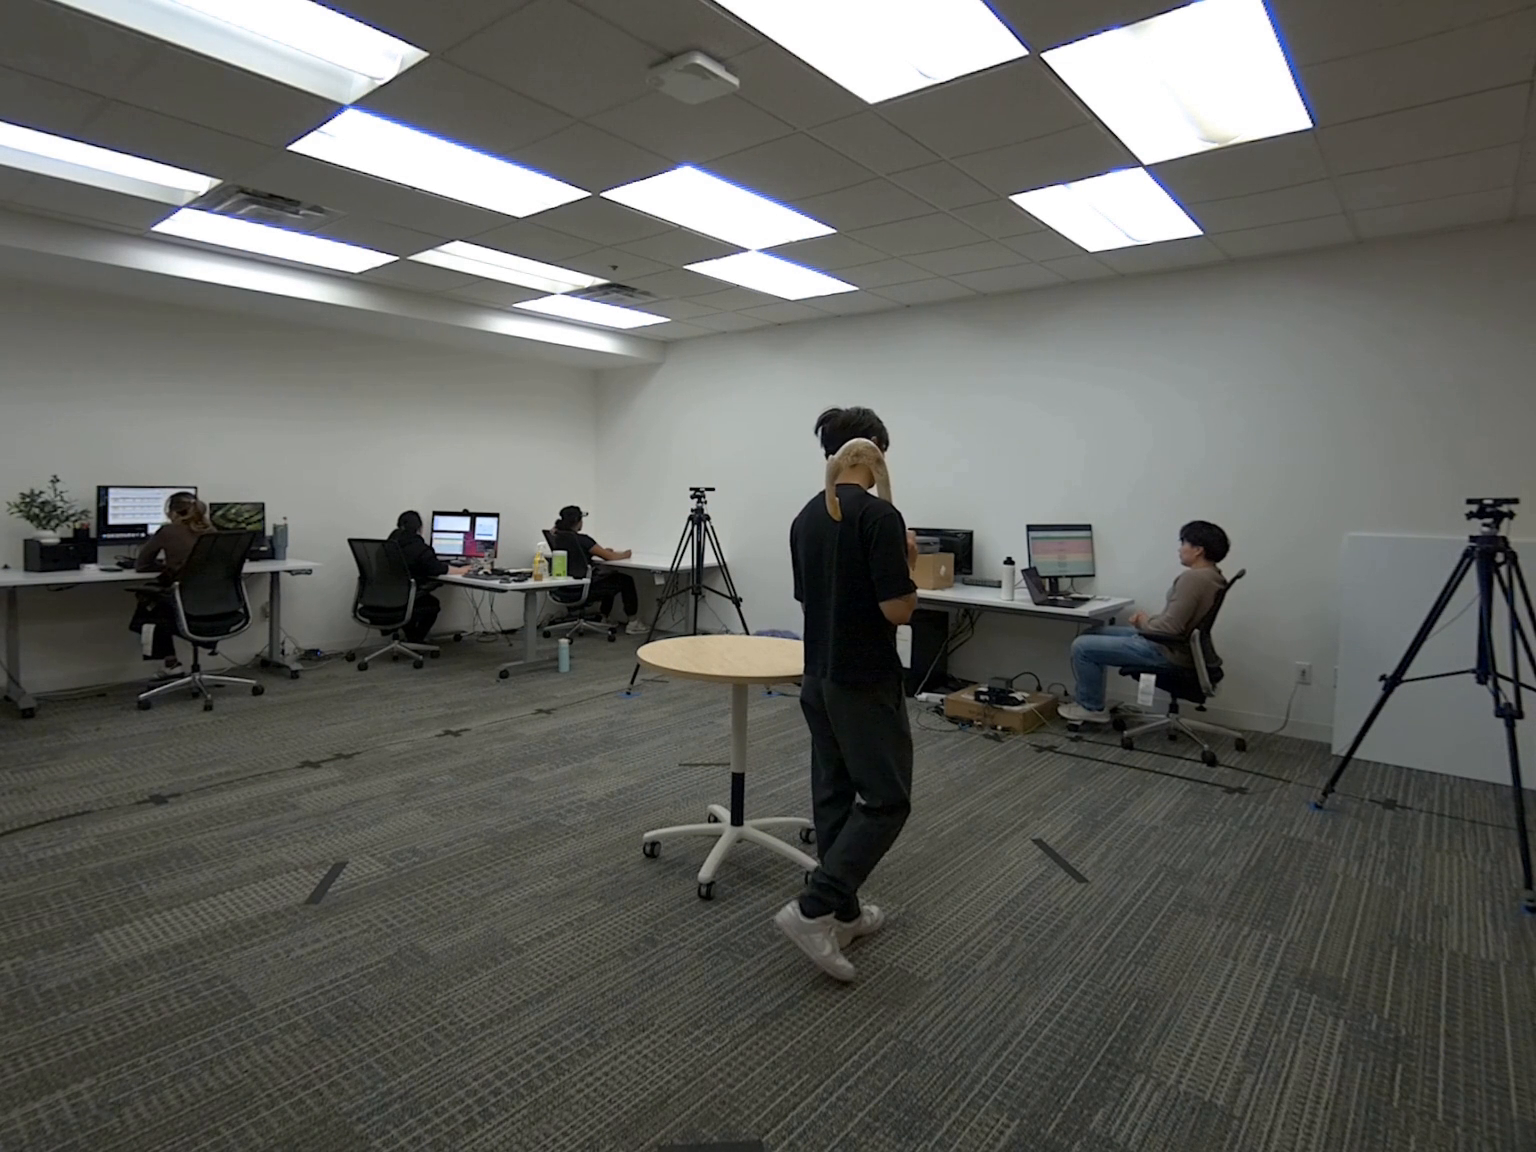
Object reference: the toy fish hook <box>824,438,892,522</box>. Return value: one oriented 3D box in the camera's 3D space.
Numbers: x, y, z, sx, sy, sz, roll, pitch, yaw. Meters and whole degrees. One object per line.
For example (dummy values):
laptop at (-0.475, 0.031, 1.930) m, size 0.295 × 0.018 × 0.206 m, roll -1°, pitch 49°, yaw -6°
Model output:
toy fish hook at (0.298, -0.174, 2.508) m, size 0.224 × 0.491 × 0.050 m, roll -35°, pitch 27°, yaw -12°
